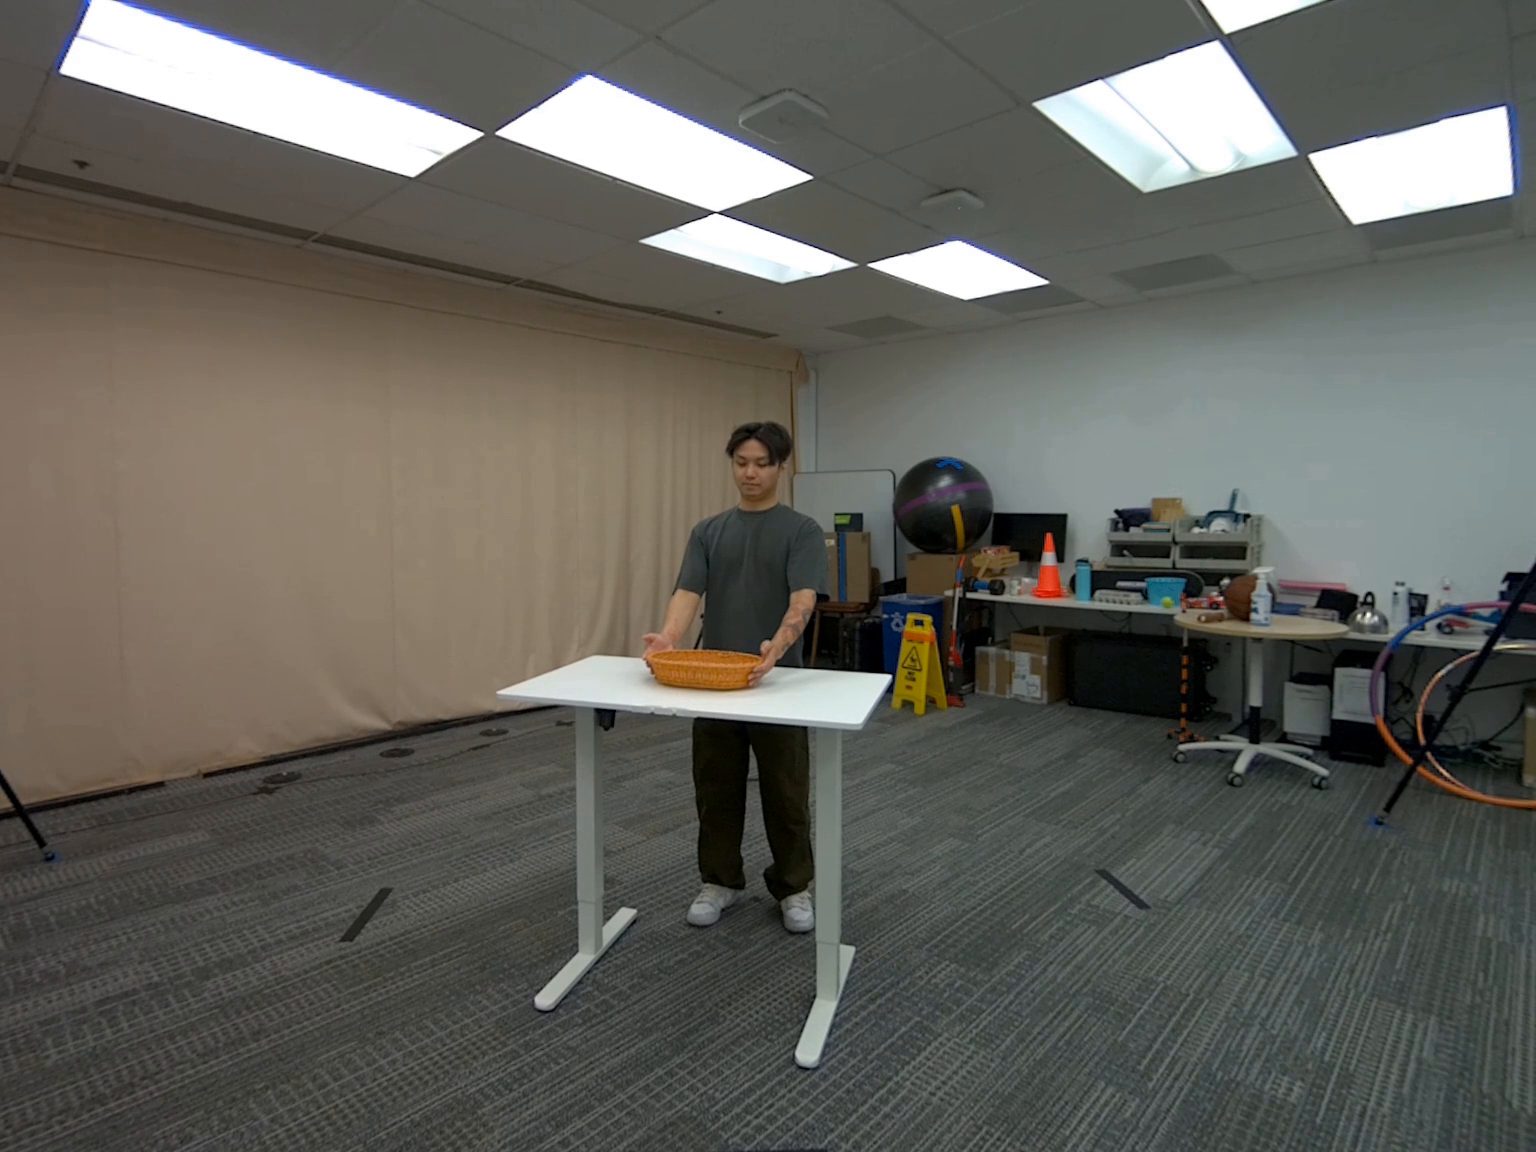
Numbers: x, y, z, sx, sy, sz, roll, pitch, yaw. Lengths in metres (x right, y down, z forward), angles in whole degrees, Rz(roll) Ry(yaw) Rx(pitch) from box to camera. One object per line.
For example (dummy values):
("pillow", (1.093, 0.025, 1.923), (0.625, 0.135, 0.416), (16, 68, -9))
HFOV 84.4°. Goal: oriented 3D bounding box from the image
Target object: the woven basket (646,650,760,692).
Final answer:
("woven basket", (-0.190, 0.271, 2.429), (0.359, 0.073, 0.247), (2, 5, 24))
